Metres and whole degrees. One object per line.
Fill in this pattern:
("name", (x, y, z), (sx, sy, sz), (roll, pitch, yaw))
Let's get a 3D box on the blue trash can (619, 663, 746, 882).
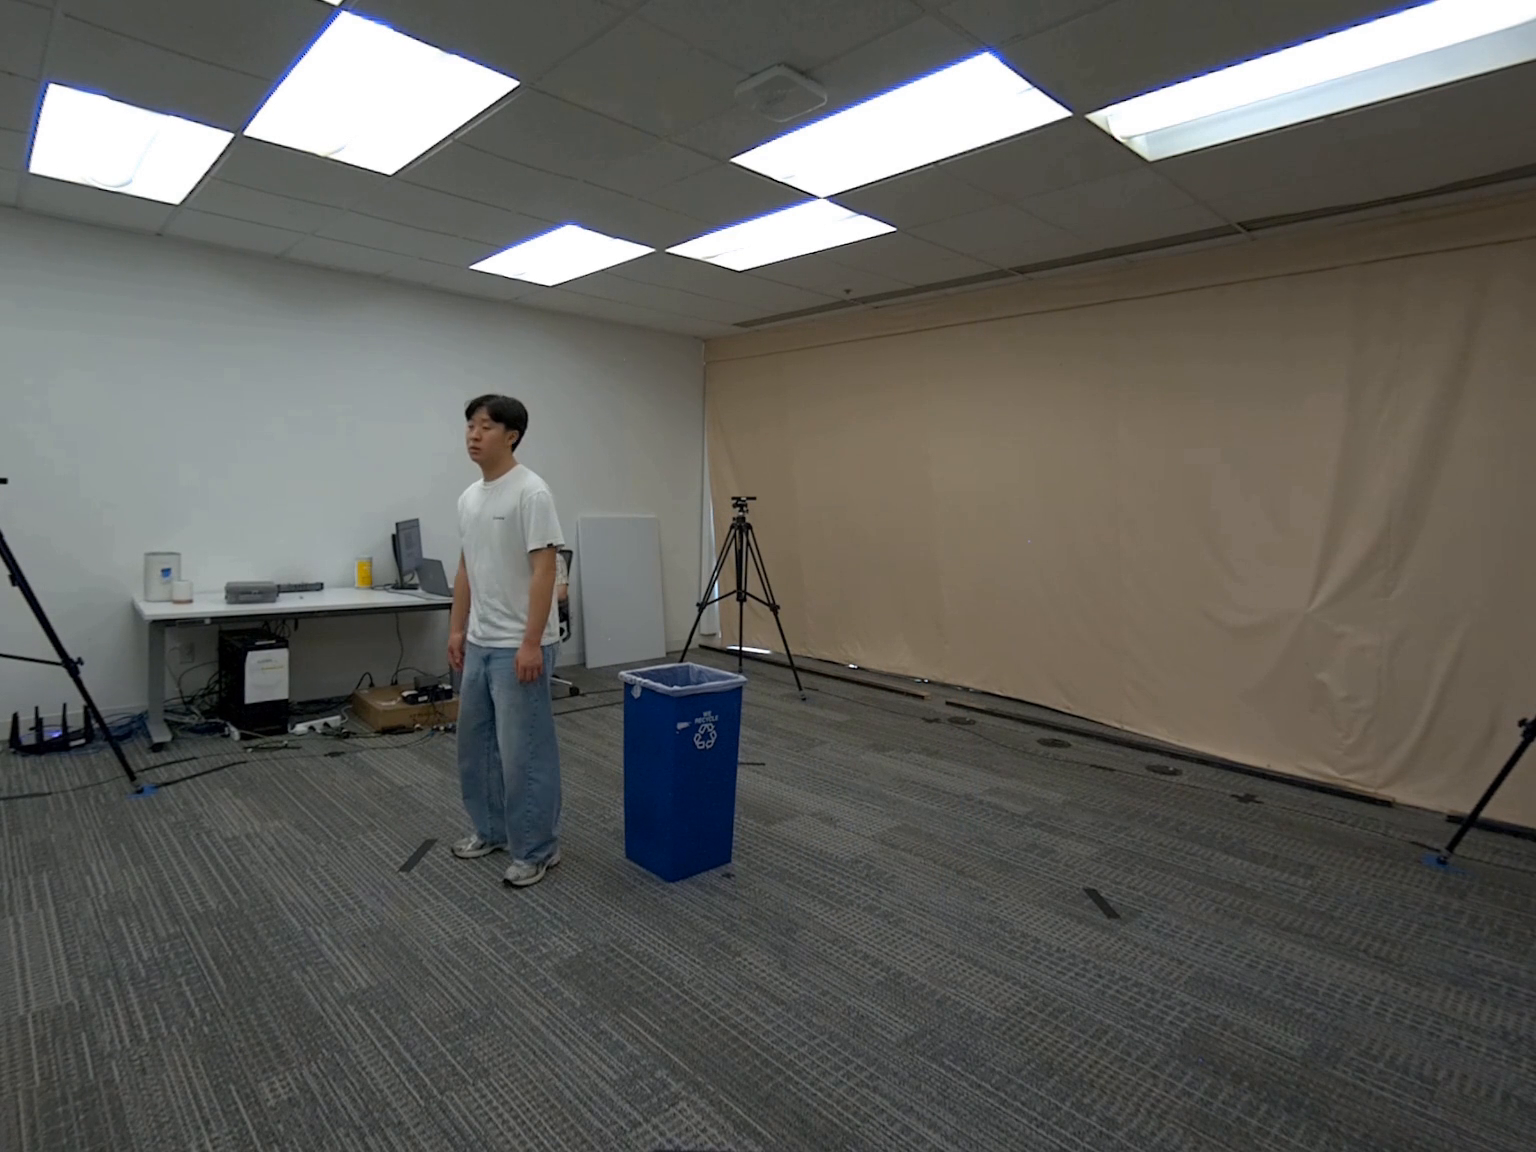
("blue trash can", (-0.339, 0.732, 3.228), (0.365, 0.711, 0.388), (-2, 5, -43))
